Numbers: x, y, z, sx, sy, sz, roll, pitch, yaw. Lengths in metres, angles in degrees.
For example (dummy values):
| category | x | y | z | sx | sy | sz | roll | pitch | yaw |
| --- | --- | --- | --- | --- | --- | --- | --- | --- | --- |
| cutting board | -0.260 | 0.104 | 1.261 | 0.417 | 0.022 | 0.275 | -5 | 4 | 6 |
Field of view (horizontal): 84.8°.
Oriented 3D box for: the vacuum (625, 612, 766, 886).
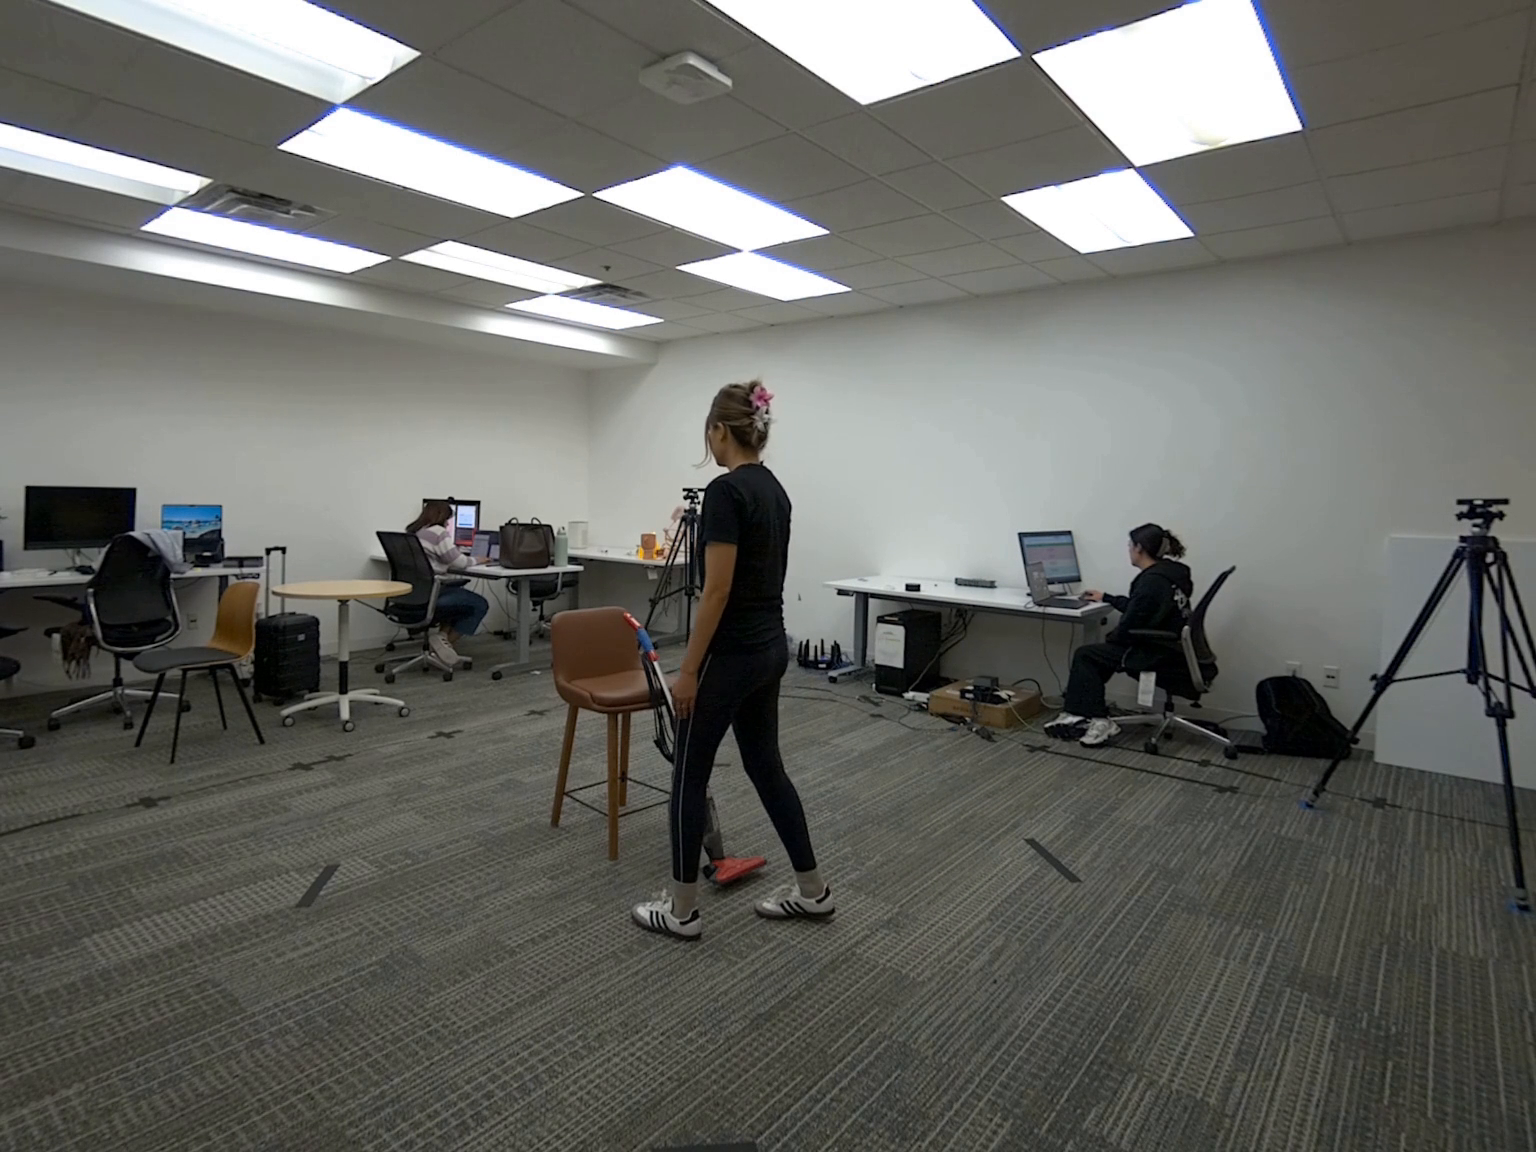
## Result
| category | x | y | z | sx | sy | sz | roll | pitch | yaw |
| --- | --- | --- | --- | --- | --- | --- | --- | --- | --- |
| vacuum | -0.353 | 0.612 | 3.221 | 0.245 | 1.077 | 0.144 | -2 | -31 | -48 |
